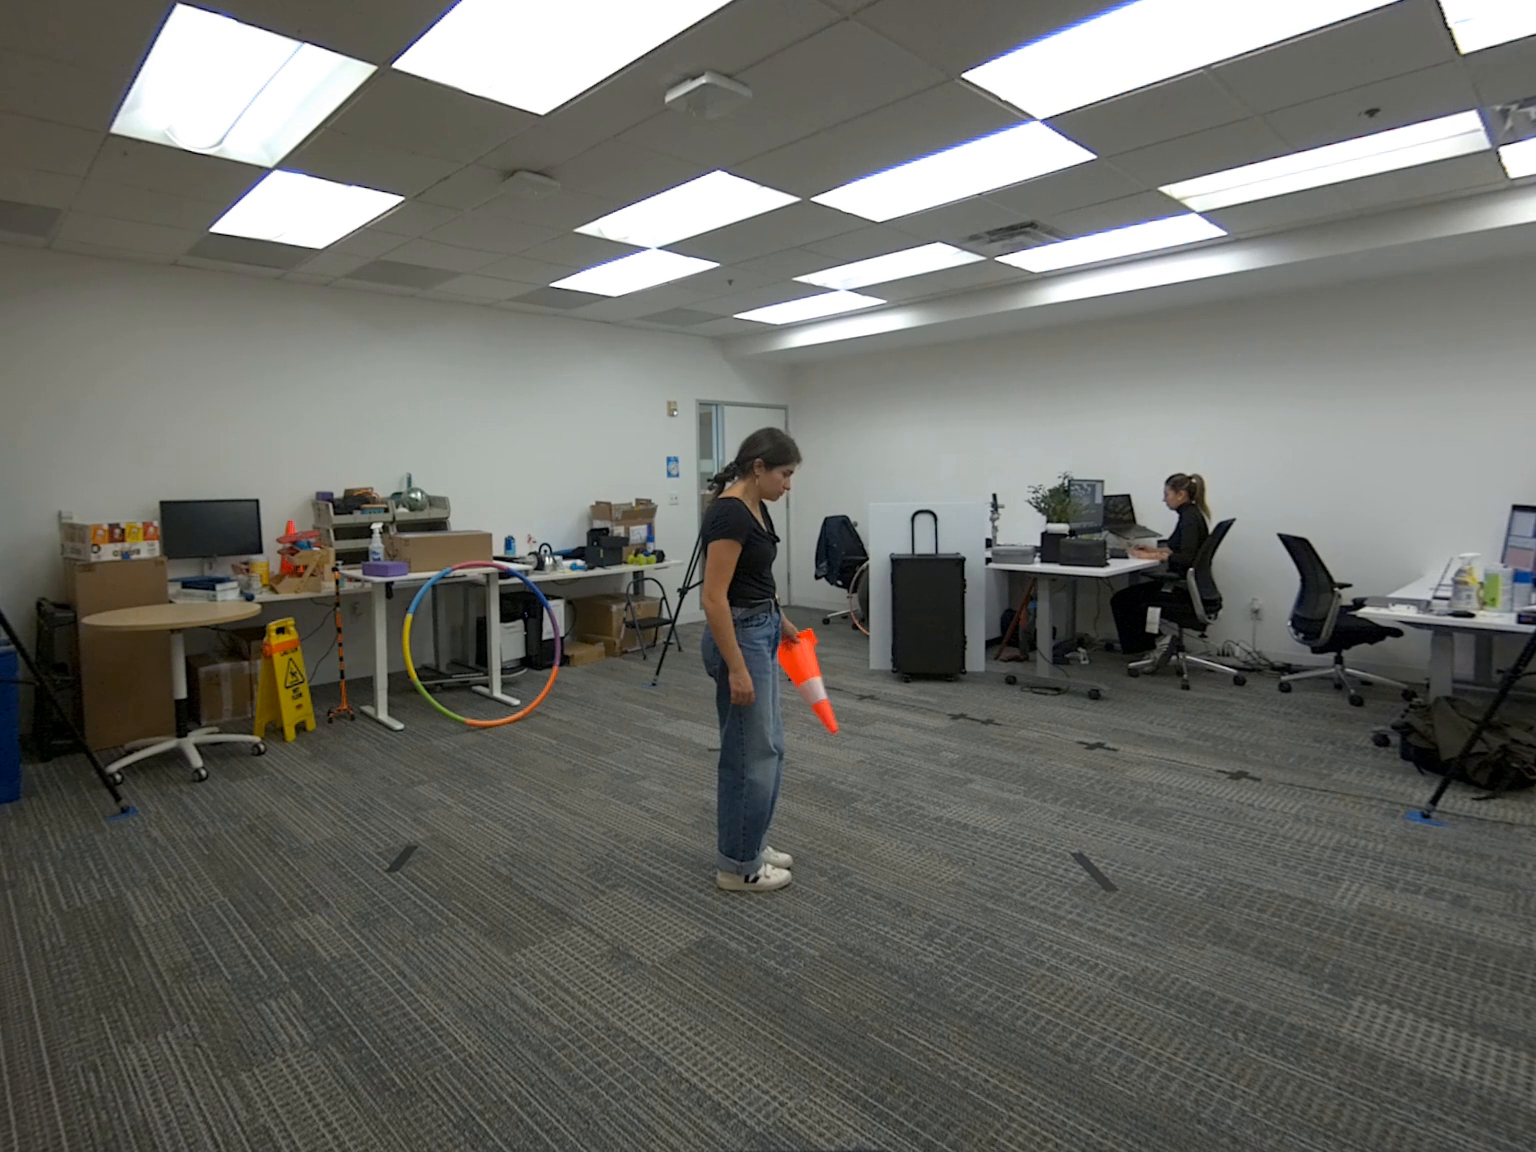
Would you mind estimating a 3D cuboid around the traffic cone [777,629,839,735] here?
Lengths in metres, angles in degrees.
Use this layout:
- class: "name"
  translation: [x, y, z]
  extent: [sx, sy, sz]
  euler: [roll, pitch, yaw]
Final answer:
- class: "traffic cone"
  translation: [0.158, 0.425, 3.284]
  extent: [0.204, 0.396, 0.198]
  euler: [-31, -29, 6]
